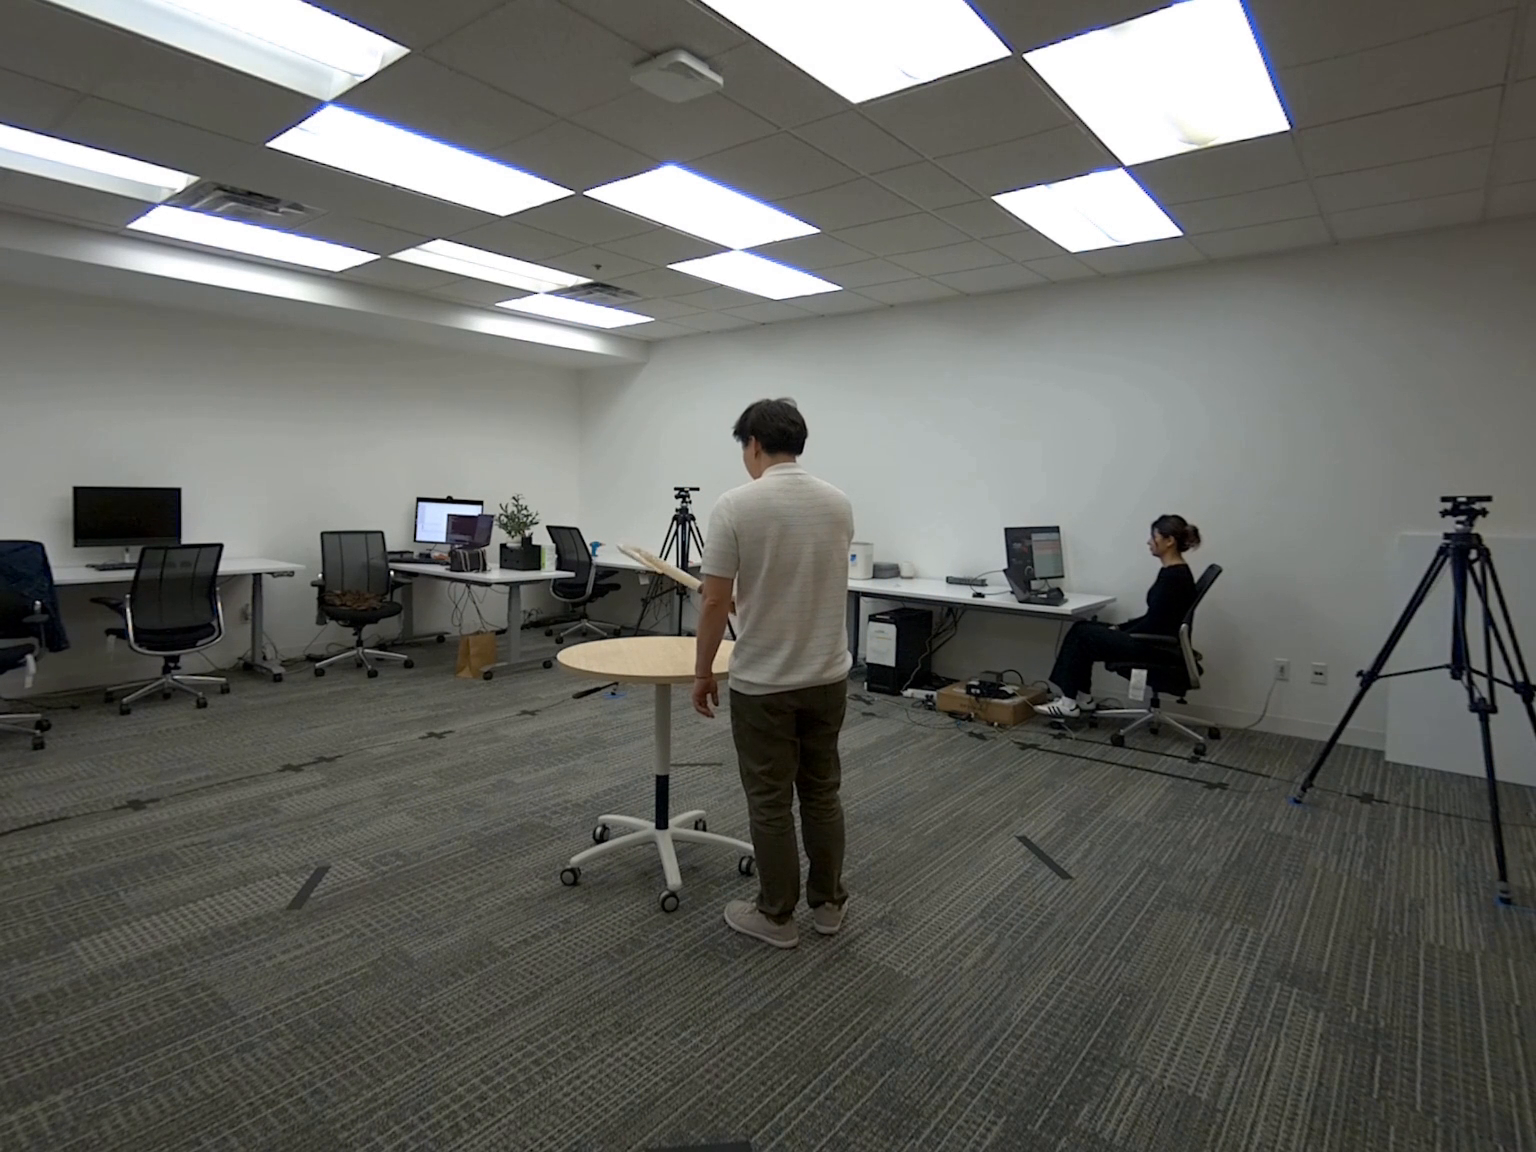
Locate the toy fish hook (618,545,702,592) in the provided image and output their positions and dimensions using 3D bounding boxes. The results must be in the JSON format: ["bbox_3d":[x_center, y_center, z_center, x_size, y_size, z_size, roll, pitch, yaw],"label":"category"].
[{"bbox_3d":[-0.287,0.010,2.874,0.515,0.048,0.222,28,7,11],"label":"toy fish hook"}]
